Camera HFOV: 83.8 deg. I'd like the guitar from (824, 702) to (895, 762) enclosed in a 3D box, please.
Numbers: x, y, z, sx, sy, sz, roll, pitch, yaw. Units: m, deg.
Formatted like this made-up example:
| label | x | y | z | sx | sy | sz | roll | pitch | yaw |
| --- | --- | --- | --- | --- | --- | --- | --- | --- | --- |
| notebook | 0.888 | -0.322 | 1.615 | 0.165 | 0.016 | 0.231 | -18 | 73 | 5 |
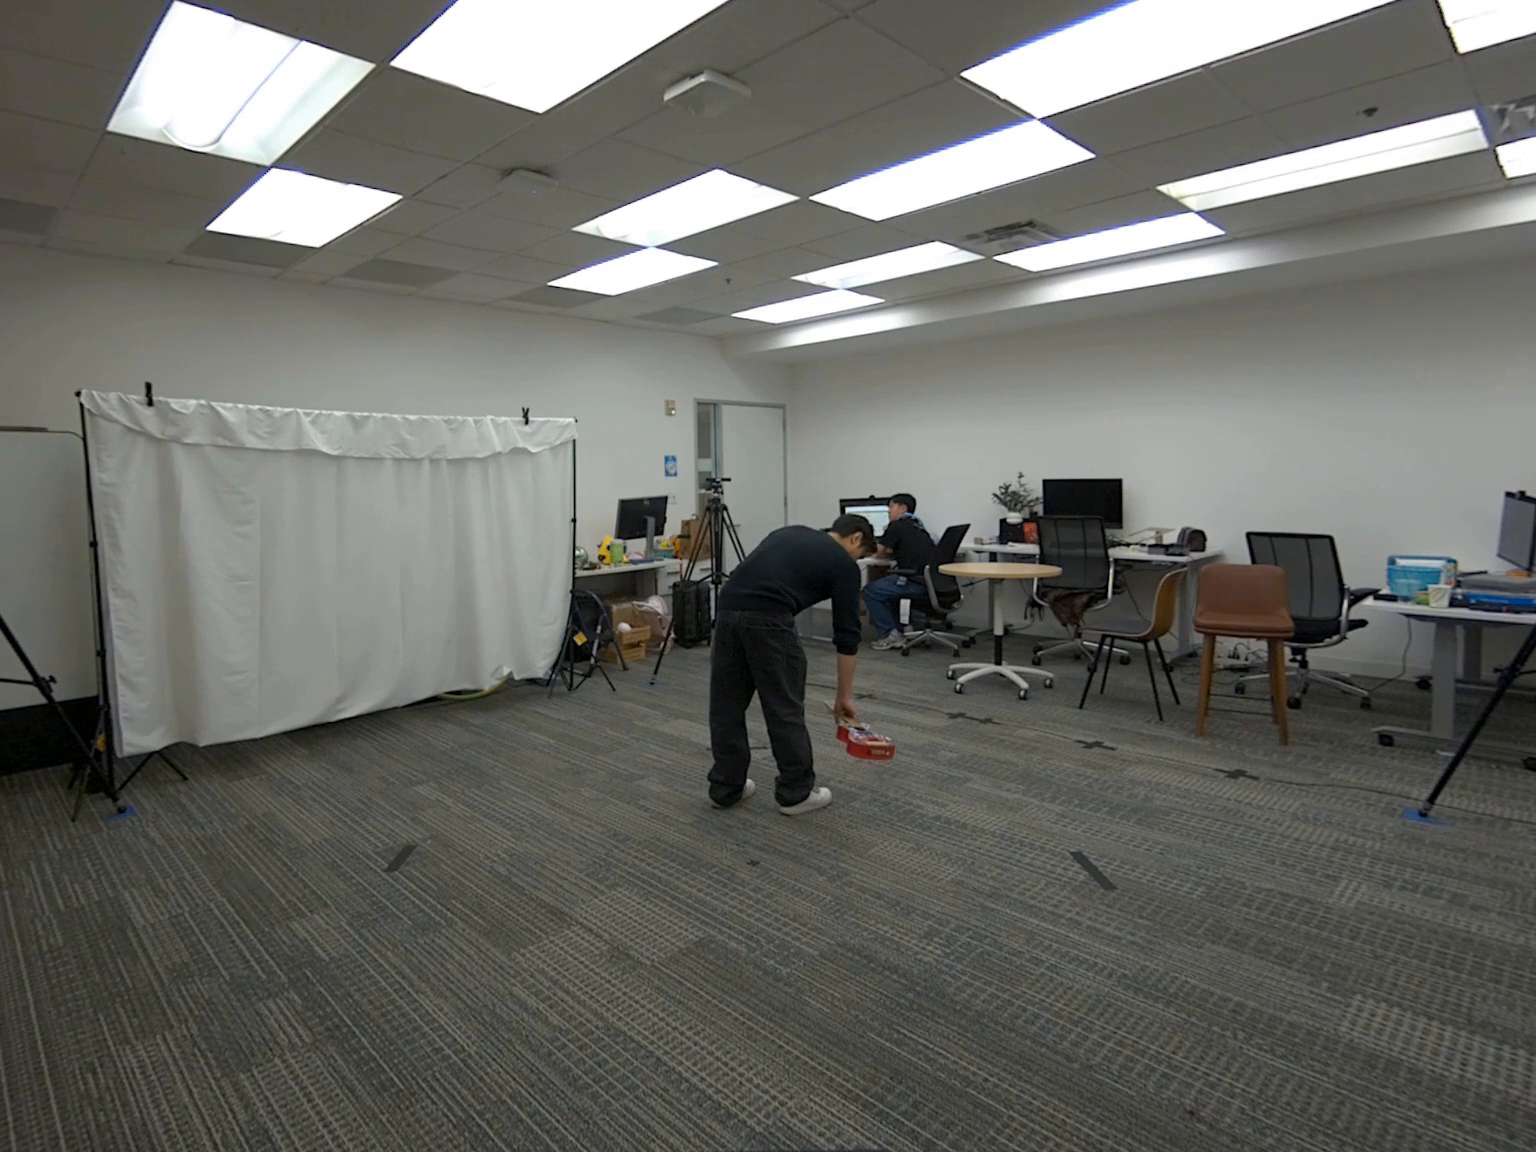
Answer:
| label | x | y | z | sx | sy | sz | roll | pitch | yaw |
| --- | --- | --- | --- | --- | --- | --- | --- | --- | --- |
| guitar | 0.384 | 0.636 | 3.555 | 0.191 | 0.070 | 0.506 | 7 | 9 | -11 |
